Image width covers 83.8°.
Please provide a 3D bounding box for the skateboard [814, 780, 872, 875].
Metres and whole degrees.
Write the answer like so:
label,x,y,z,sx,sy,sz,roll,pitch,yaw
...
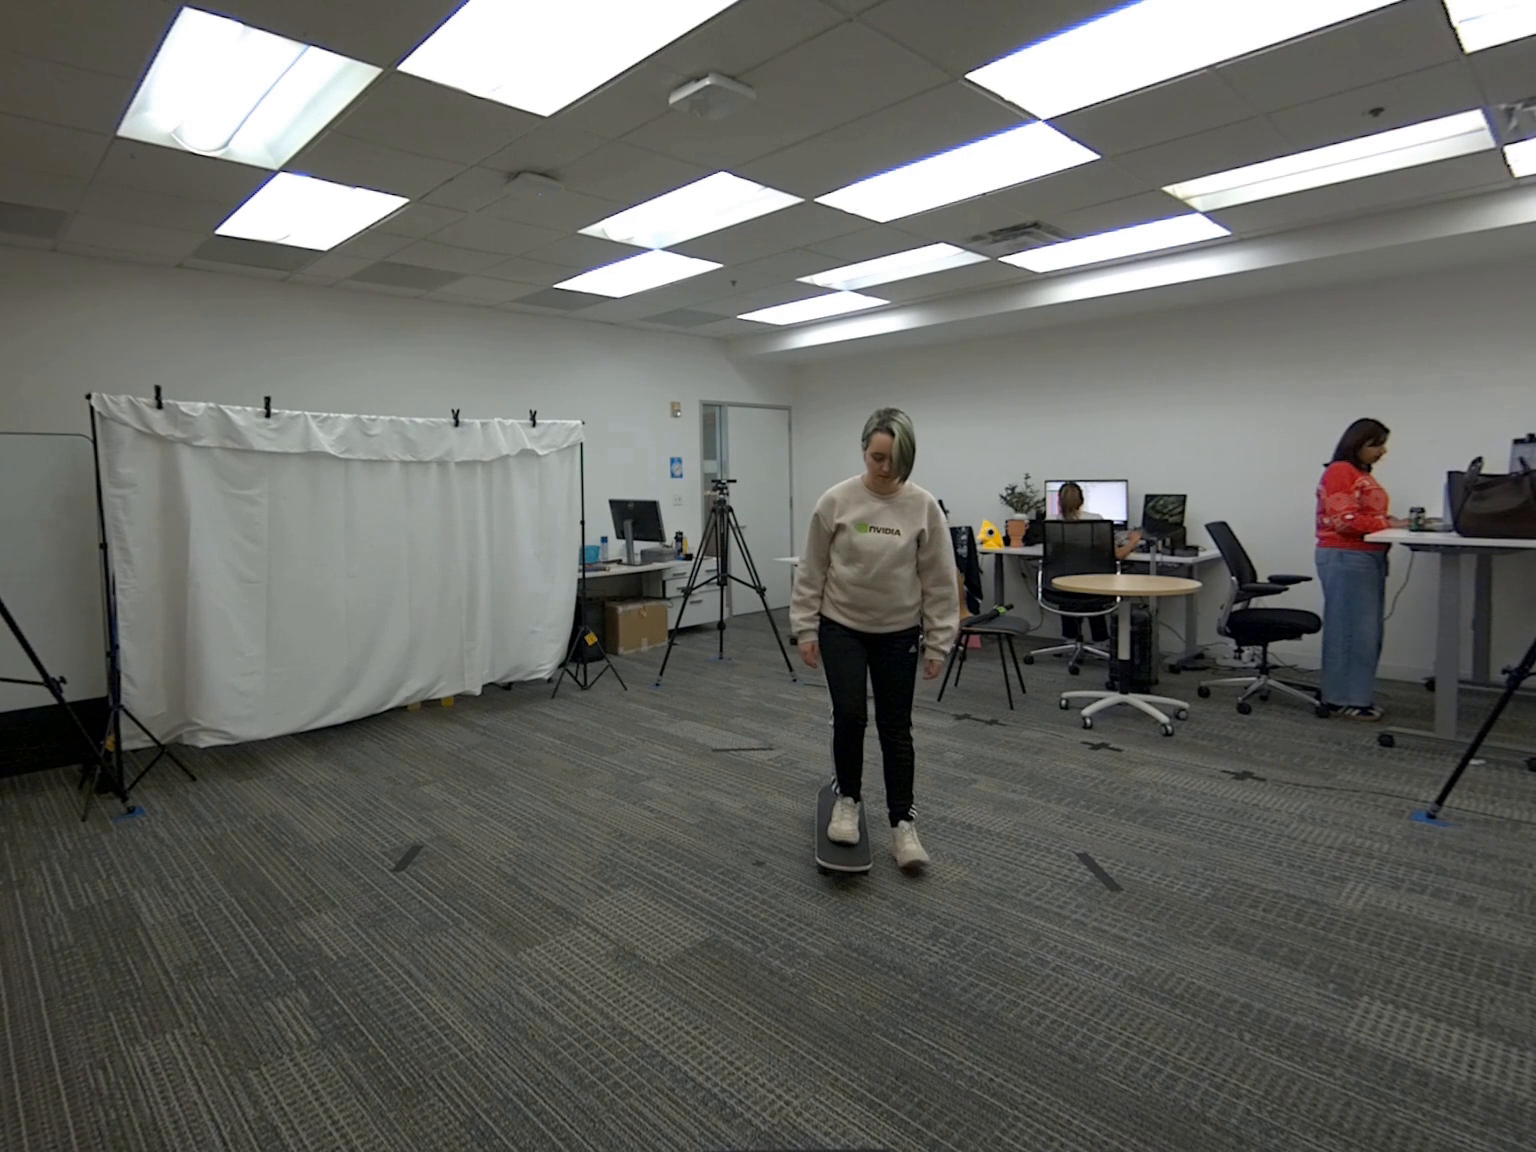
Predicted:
label,x,y,z,sx,sy,sz,roll,pitch,yaw
skateboard,0.285,0.970,3.223,0.194,0.110,0.786,0,6,3
